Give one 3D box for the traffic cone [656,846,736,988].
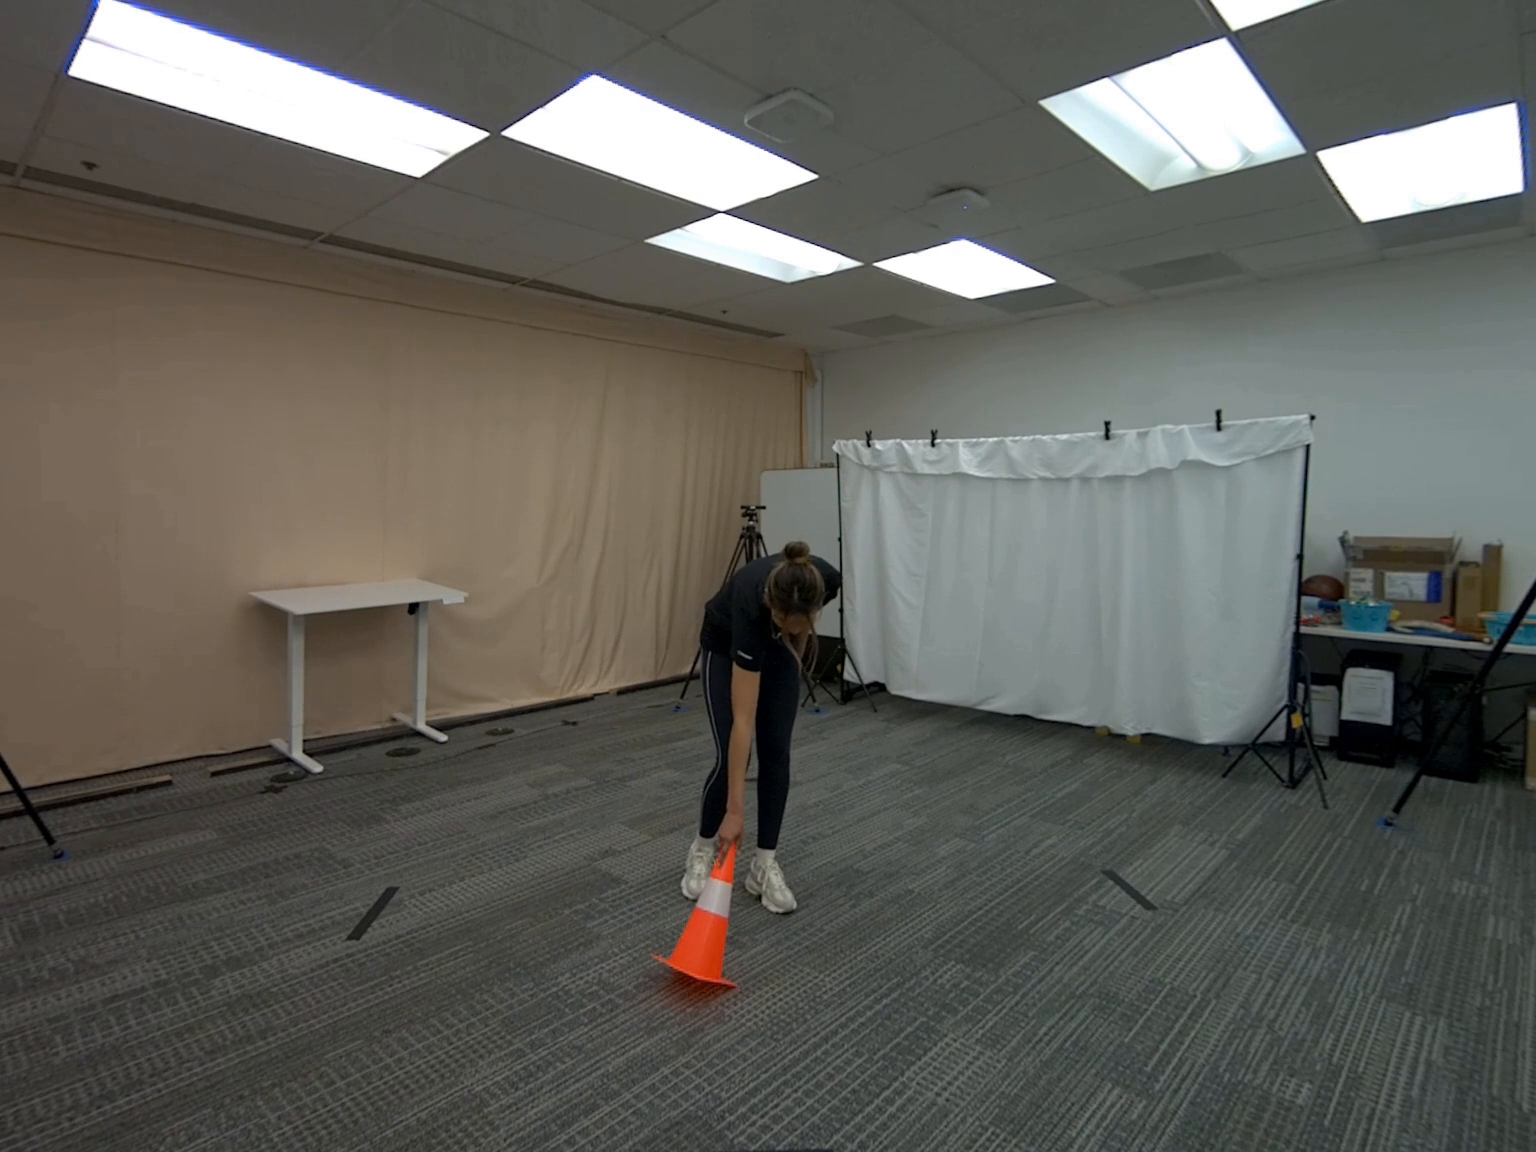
[{"bbox_3d":[-0.155,0.979,2.501,0.210,0.385,0.197,5,-23,35],"label":"traffic cone"}]
